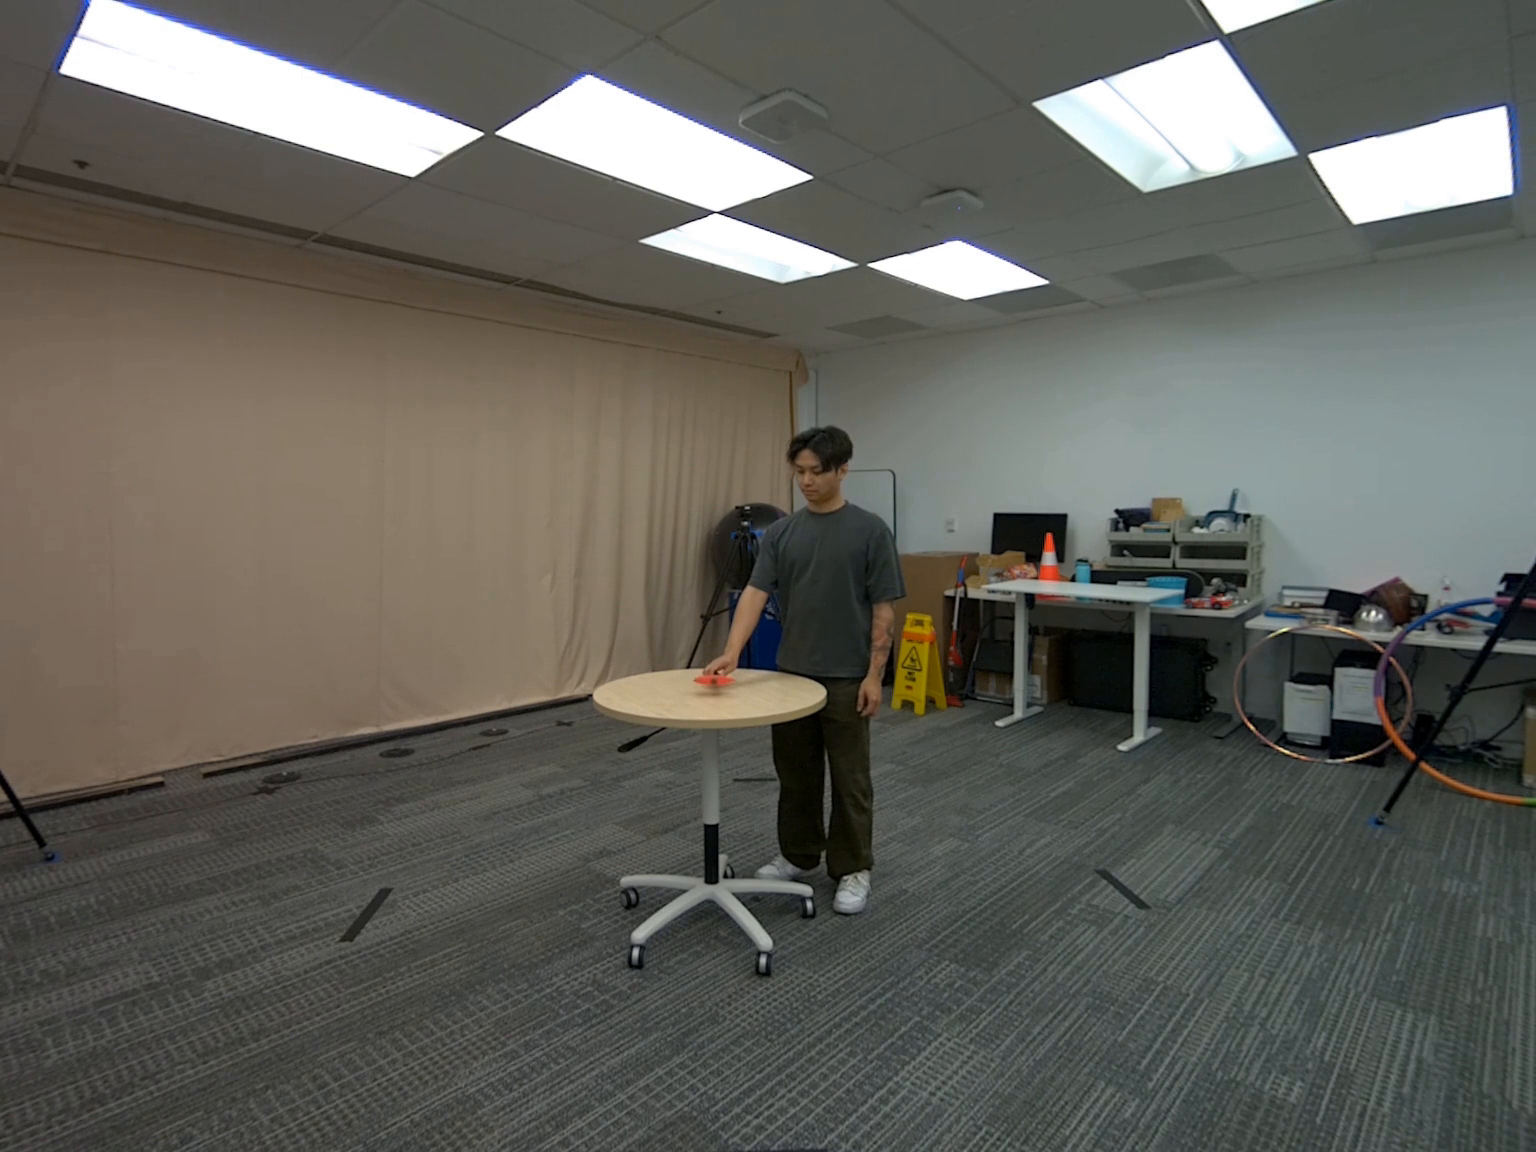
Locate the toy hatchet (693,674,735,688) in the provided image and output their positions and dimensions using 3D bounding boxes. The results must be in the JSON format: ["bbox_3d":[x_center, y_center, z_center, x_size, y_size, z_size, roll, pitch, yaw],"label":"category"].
[{"bbox_3d":[-0.201,0.338,2.800,0.128,0.029,0.275,0,0,-20],"label":"toy hatchet"}]
